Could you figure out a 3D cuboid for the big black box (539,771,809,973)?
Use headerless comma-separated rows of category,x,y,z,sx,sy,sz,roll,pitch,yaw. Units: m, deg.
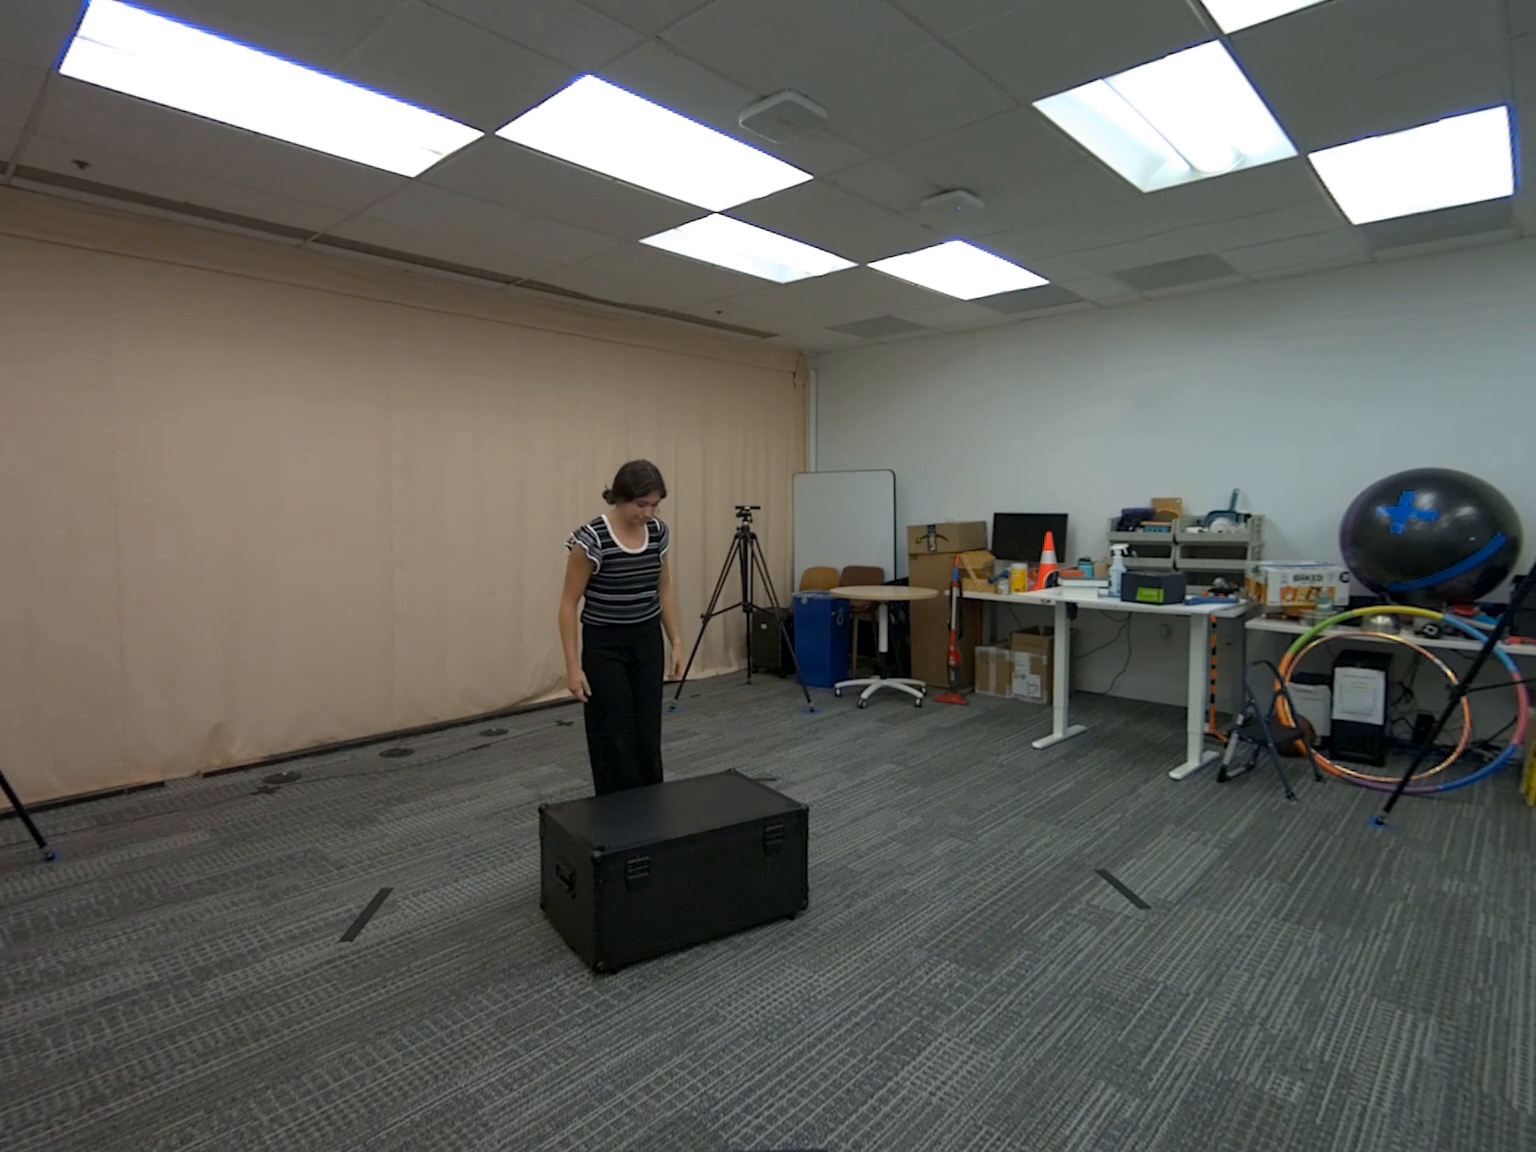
big black box,-0.287,0.964,2.870,0.838,0.395,0.537,-3,5,-32
